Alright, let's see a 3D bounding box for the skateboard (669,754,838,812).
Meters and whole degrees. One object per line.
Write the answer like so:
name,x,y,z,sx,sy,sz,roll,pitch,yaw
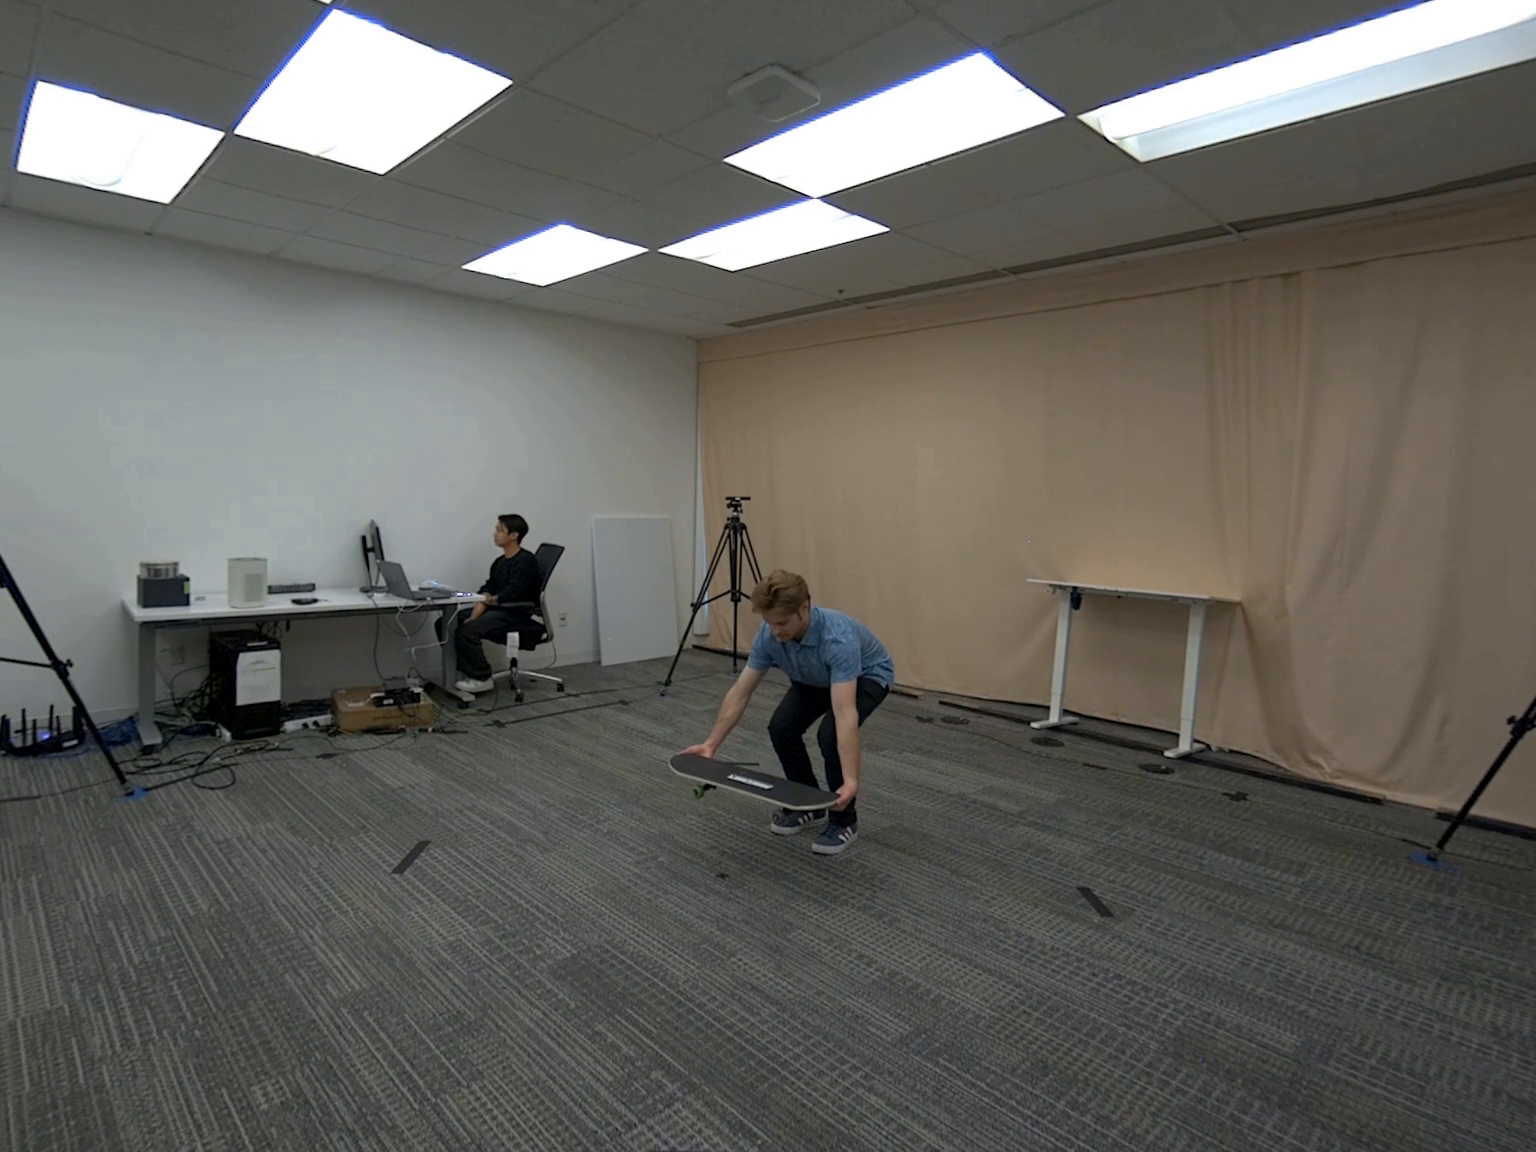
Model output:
skateboard,-0.069,0.806,3.187,0.805,0.110,0.189,4,8,41
